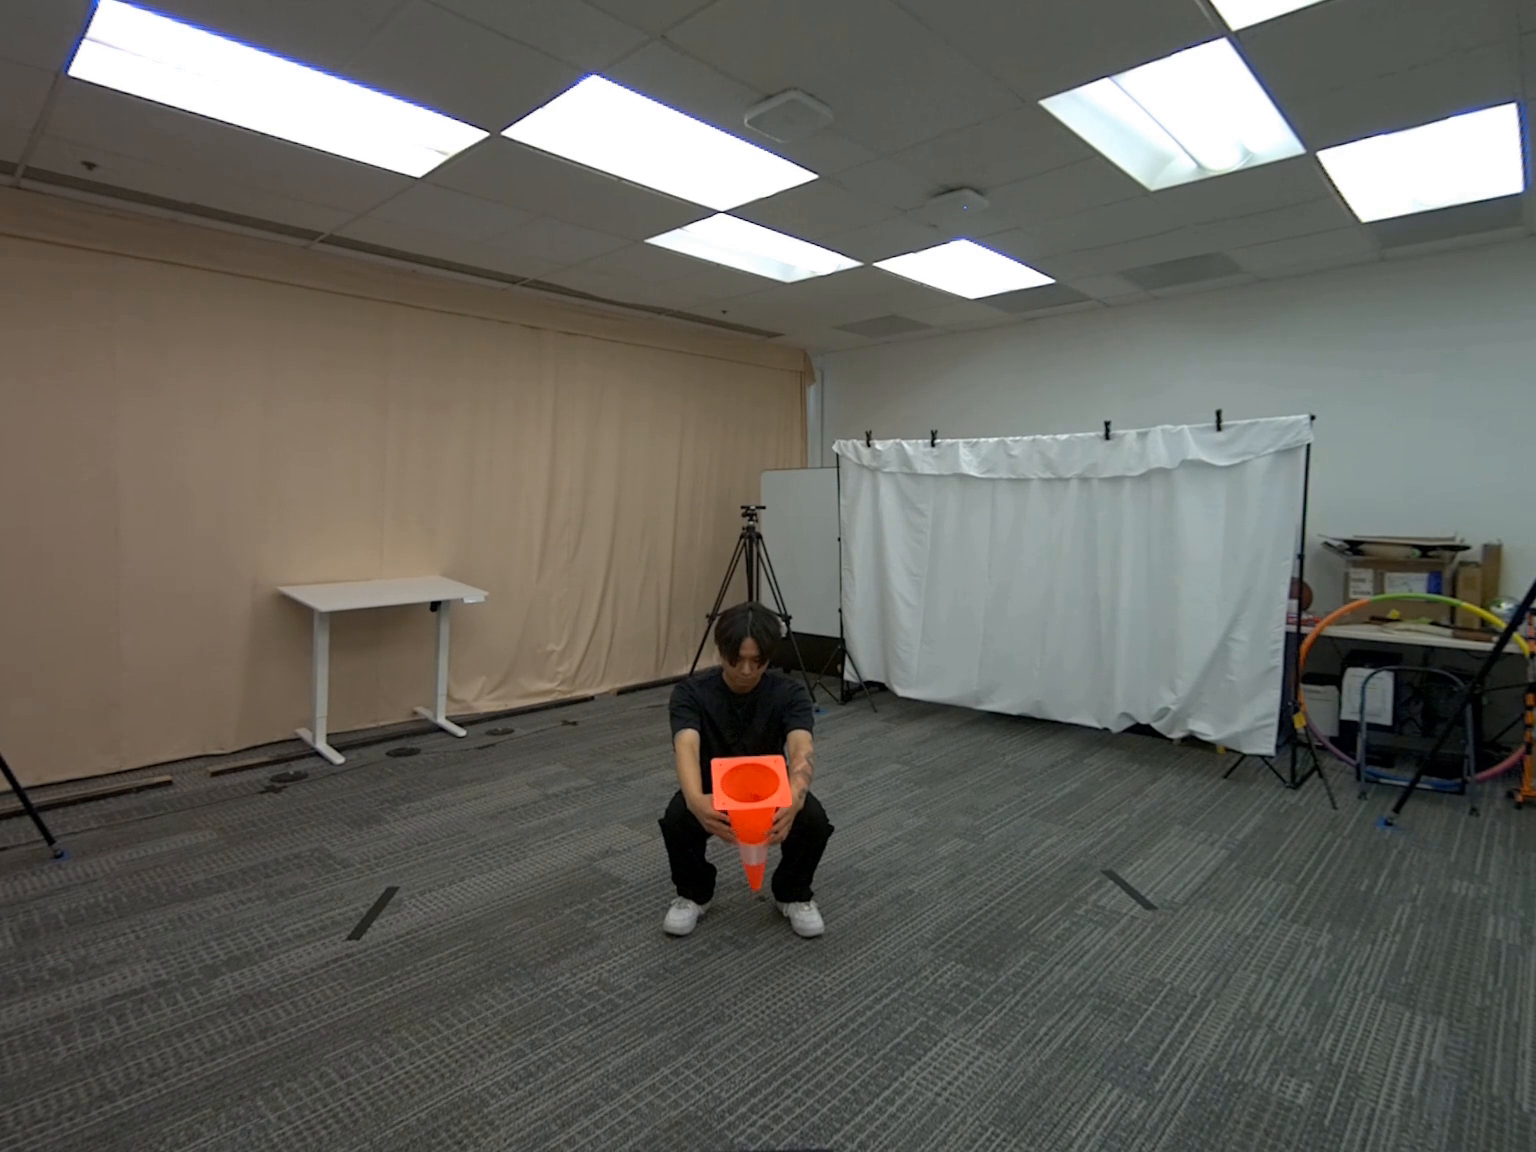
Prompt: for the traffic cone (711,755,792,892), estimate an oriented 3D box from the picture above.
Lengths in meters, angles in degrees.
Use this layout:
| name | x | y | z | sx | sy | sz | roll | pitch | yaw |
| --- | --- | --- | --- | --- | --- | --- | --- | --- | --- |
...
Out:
| name | x | y | z | sx | sy | sz | roll | pitch | yaw |
| --- | --- | --- | --- | --- | --- | --- | --- | --- | --- |
| traffic cone | -0.043 | 0.714 | 2.282 | 0.203 | 0.377 | 0.209 | -8 | 27 | -11 |
